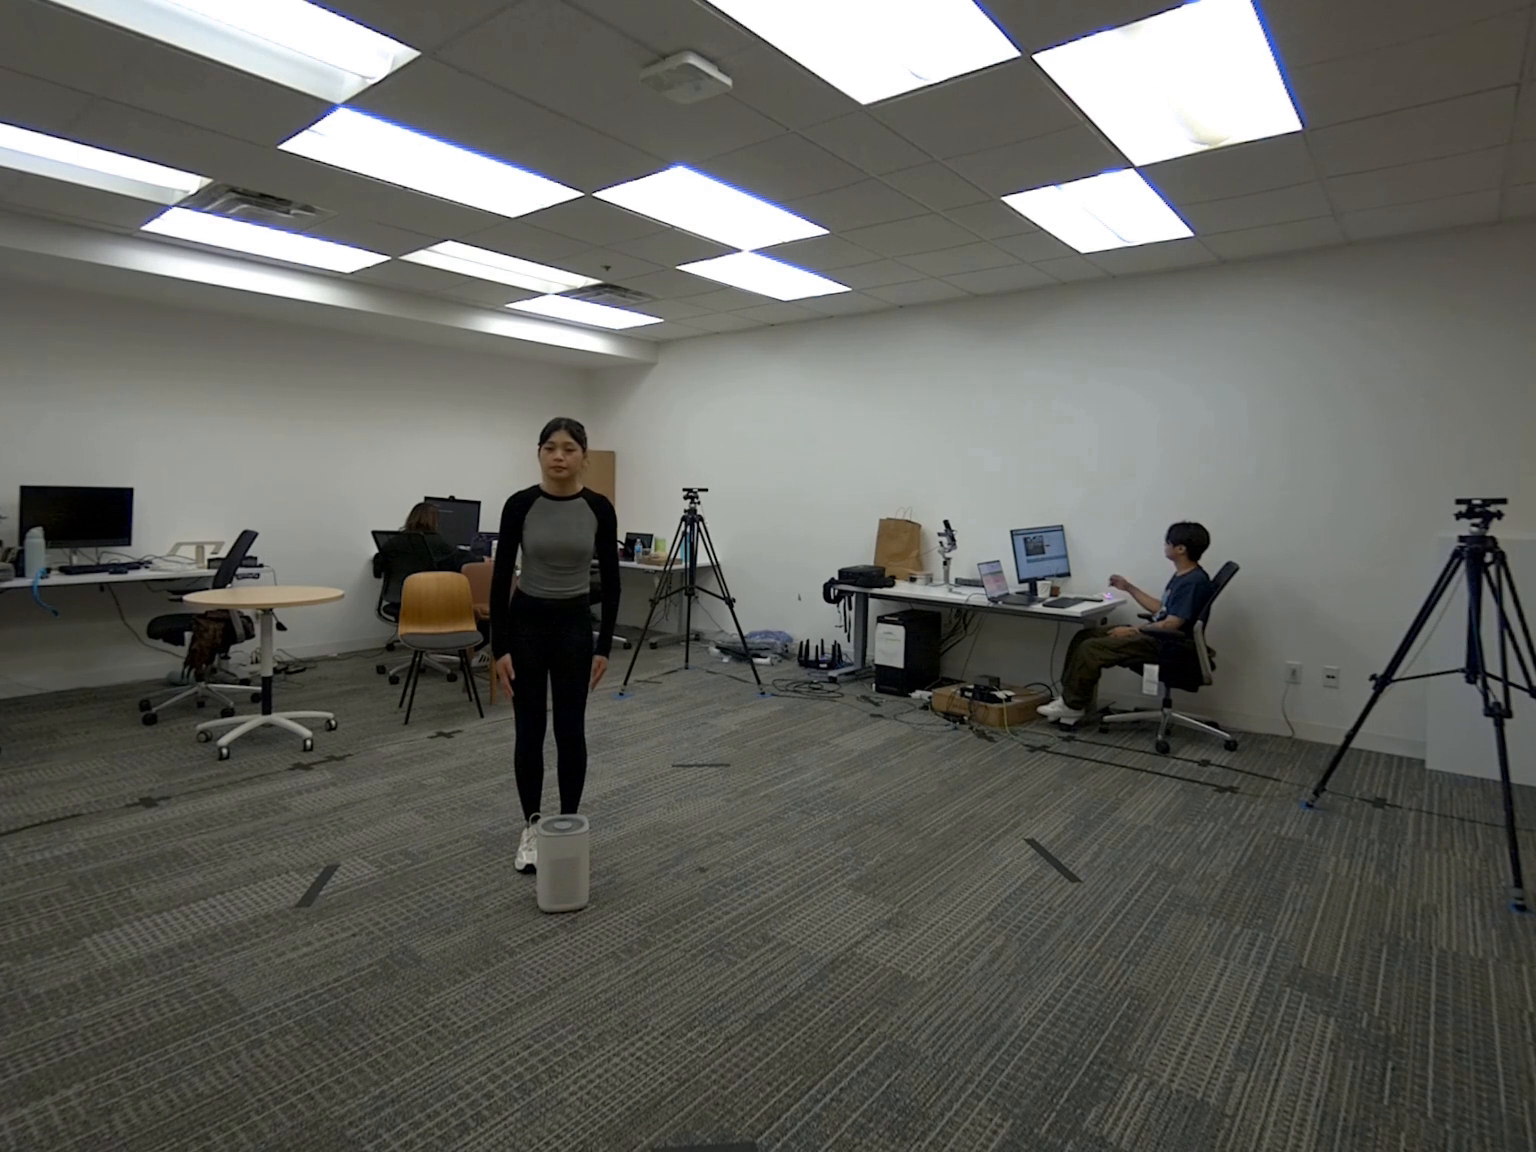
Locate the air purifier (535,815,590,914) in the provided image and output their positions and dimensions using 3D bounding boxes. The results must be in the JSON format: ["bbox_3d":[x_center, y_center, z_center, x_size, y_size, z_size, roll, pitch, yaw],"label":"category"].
[{"bbox_3d":[-0.697,0.954,2.839,0.169,0.264,0.175,-1,5,-17],"label":"air purifier"}]
